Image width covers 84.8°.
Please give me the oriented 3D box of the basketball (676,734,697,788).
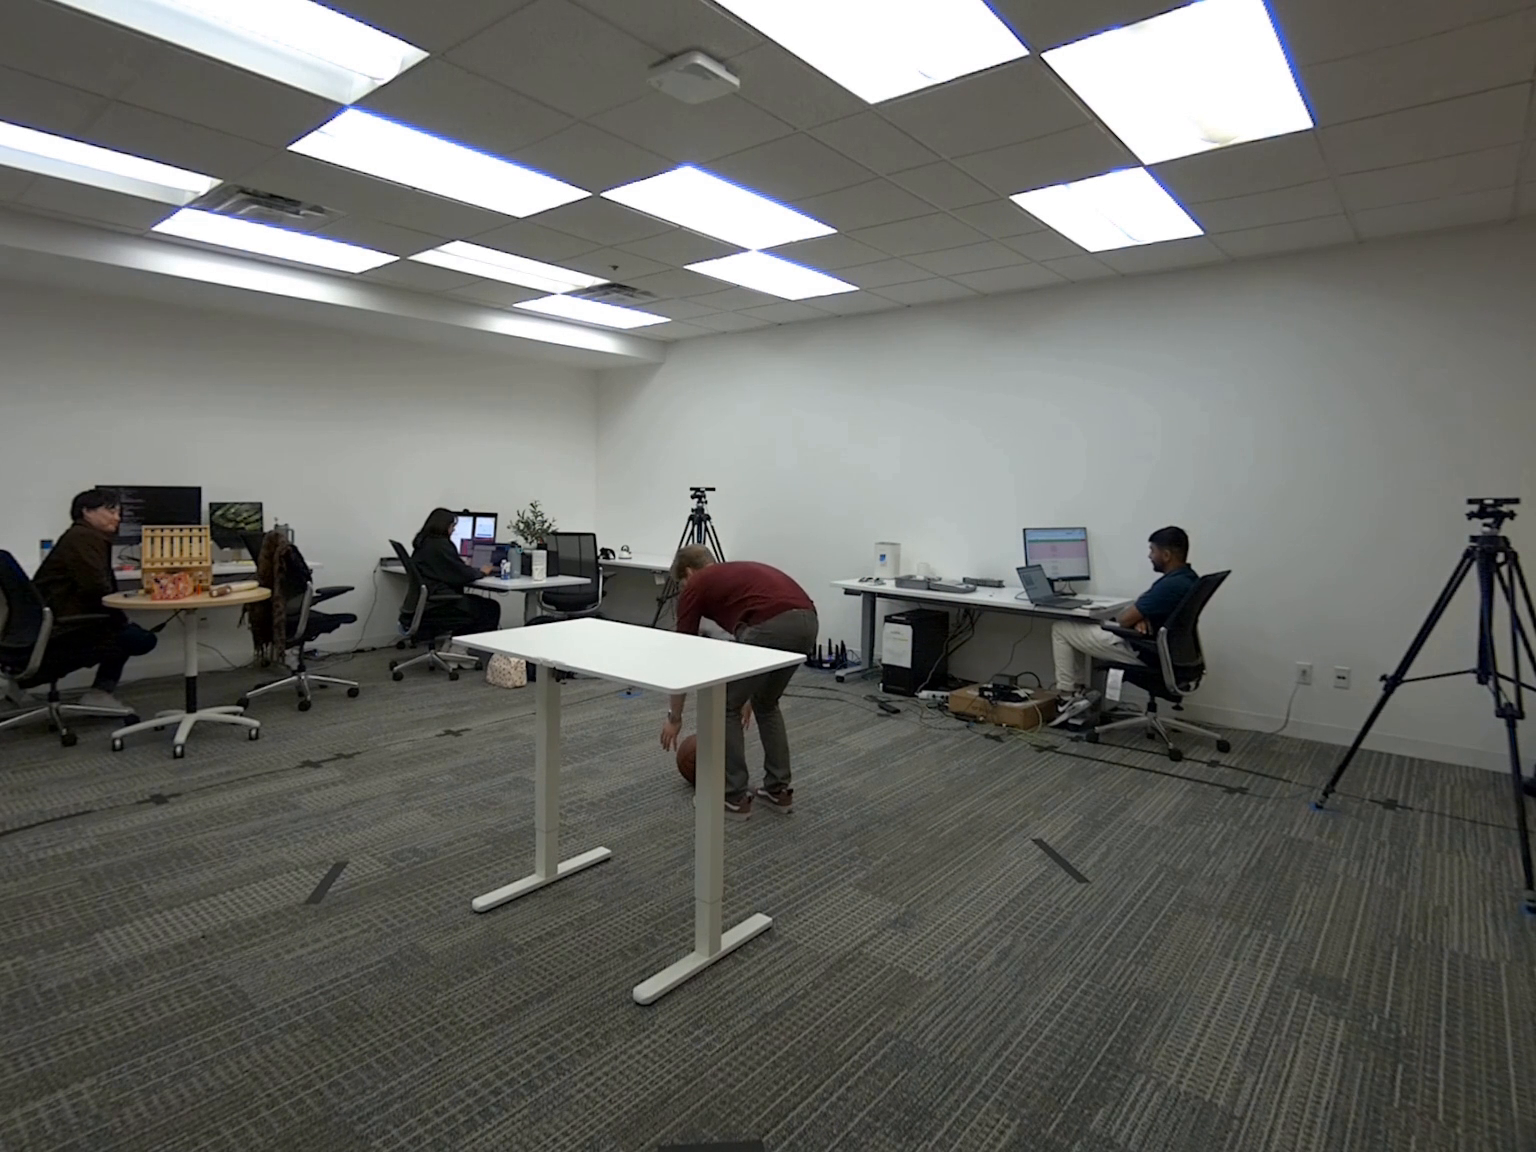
[{"bbox_3d":[-0.322,0.854,4.008,0.235,0.235,0.237,1,4,-2],"label":"basketball"}]
